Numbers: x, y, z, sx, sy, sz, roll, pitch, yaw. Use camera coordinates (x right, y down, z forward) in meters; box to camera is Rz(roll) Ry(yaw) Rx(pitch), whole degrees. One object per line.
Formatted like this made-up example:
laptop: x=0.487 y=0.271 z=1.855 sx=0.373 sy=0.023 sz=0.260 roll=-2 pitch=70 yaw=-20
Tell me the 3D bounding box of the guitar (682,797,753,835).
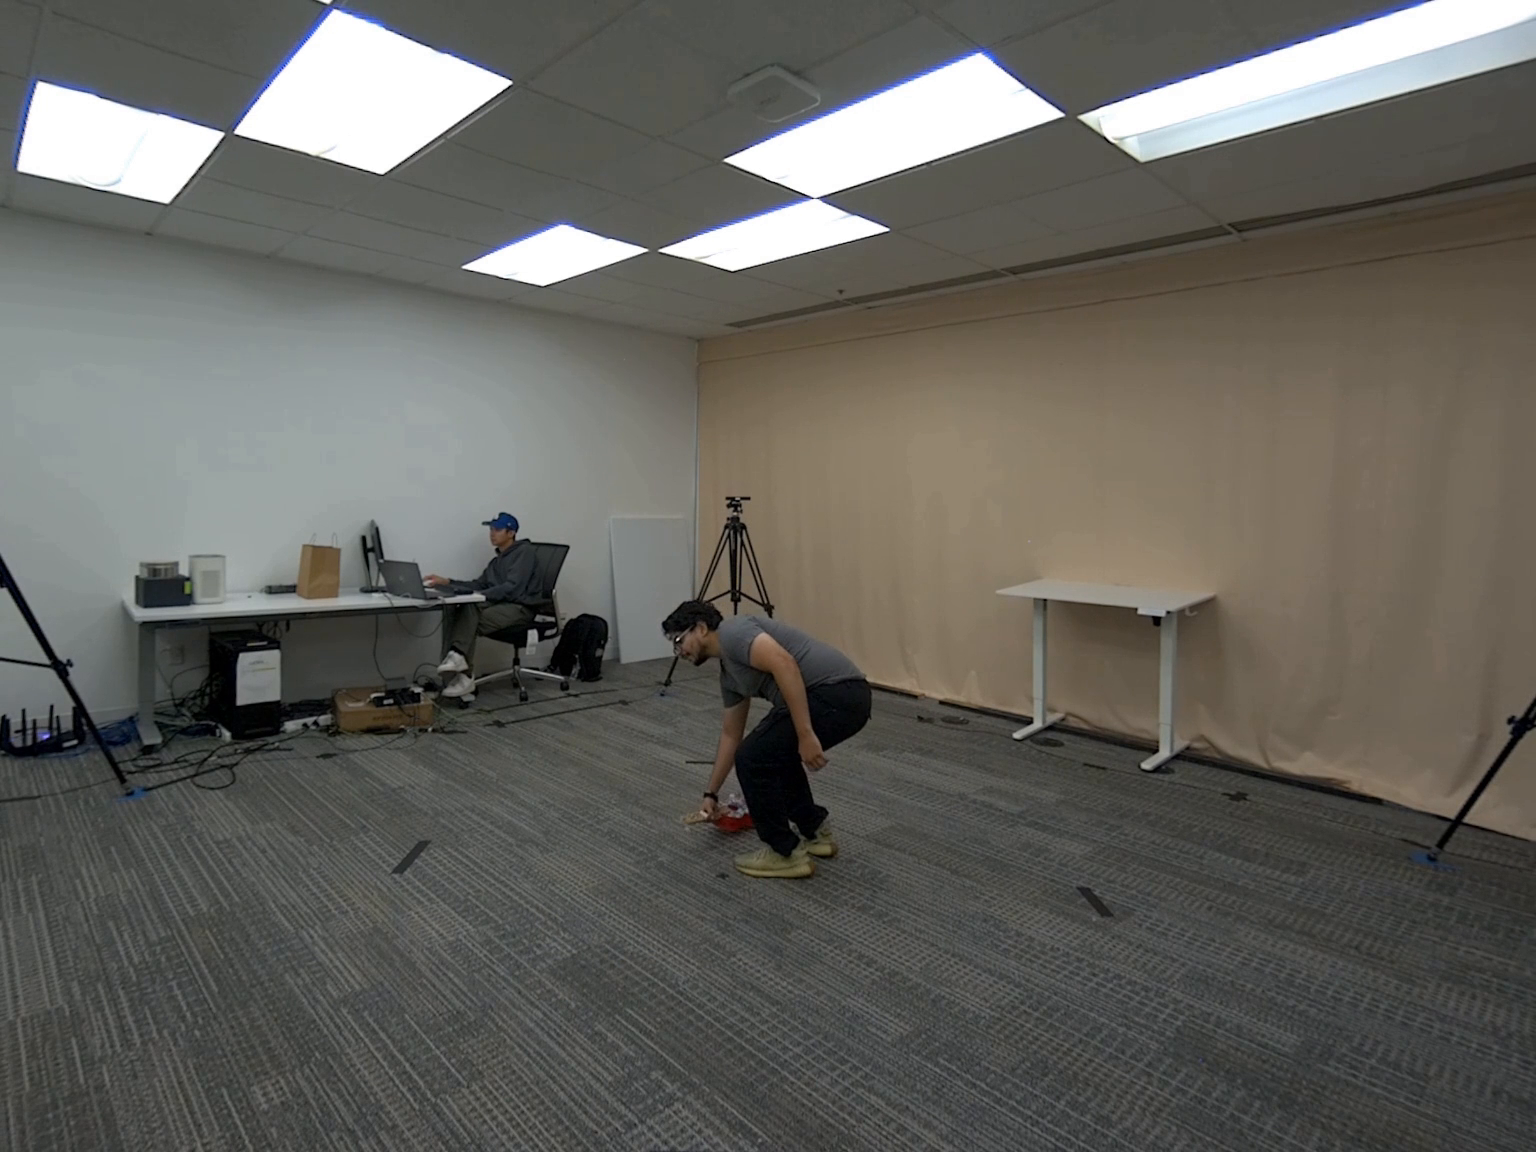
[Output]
guitar: x=-0.213 y=0.988 z=3.508 sx=0.484 sy=0.070 sz=0.199 roll=9 pitch=7 yaw=-45
